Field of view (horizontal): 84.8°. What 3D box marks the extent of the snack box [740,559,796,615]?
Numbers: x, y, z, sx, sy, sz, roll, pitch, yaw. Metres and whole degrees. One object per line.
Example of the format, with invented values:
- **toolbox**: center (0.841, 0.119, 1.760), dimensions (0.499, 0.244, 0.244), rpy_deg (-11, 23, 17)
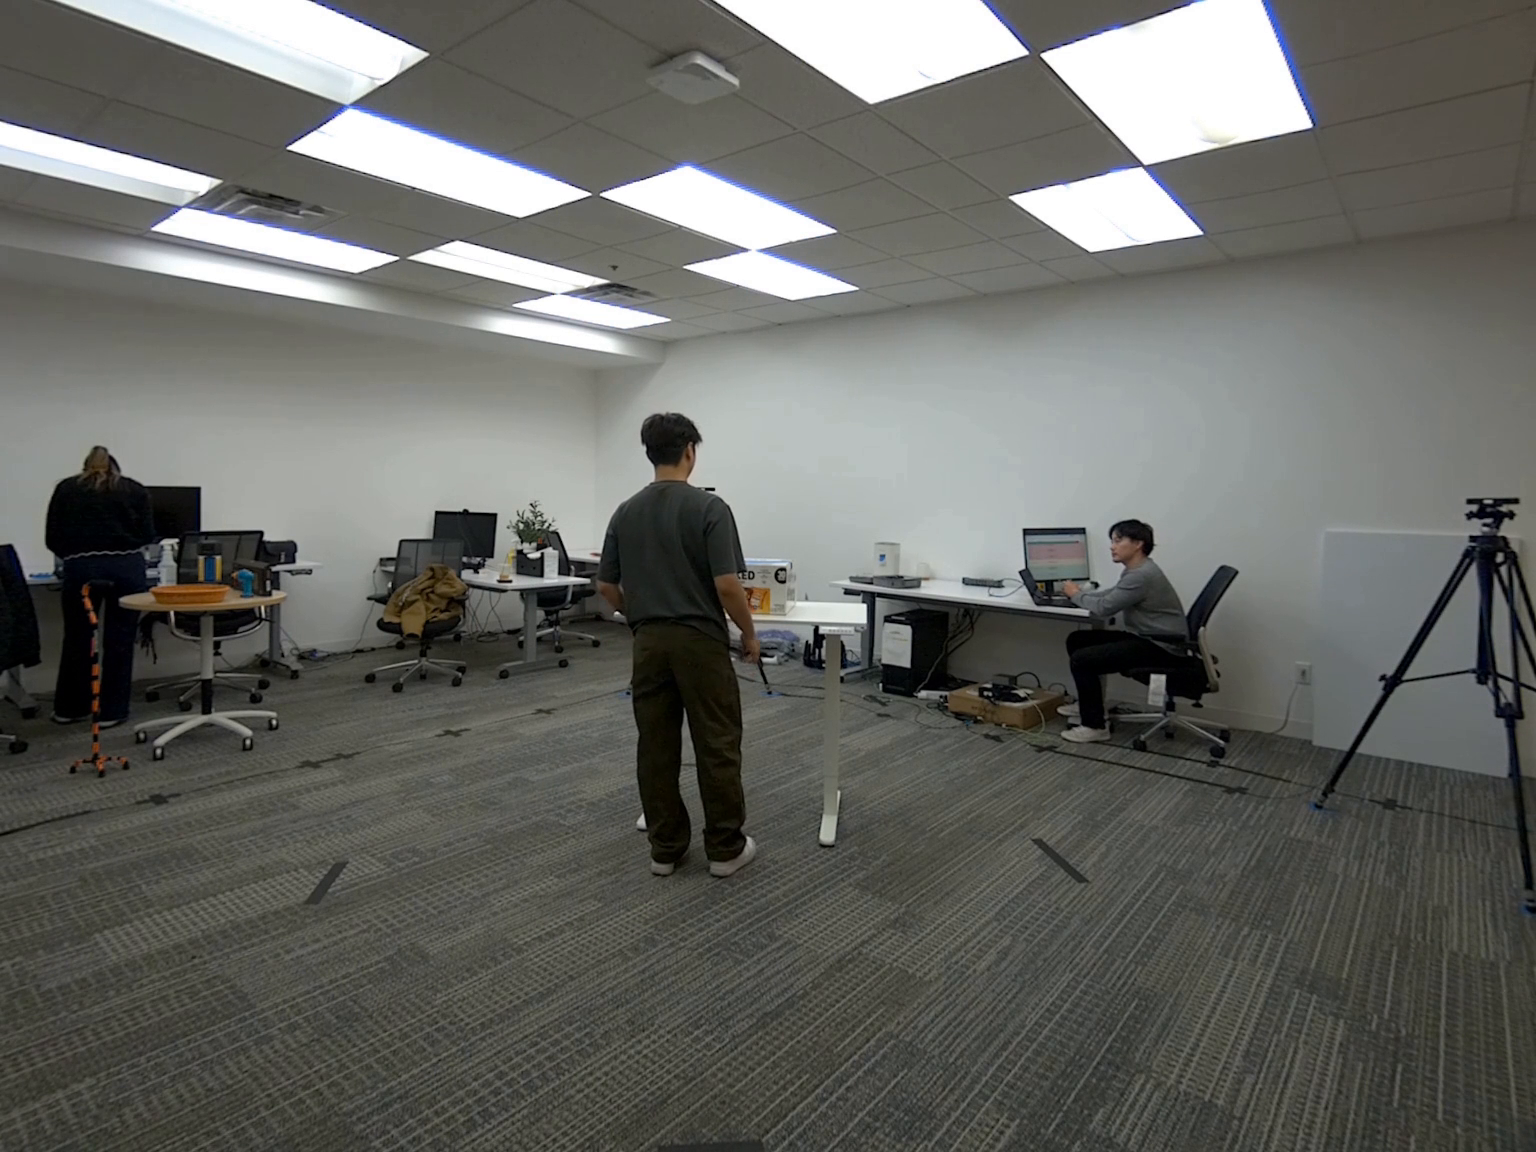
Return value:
- **snack box**: center (-0.109, 0.034, 3.629), dimensions (0.410, 0.205, 0.338), rpy_deg (1, 5, 10)
